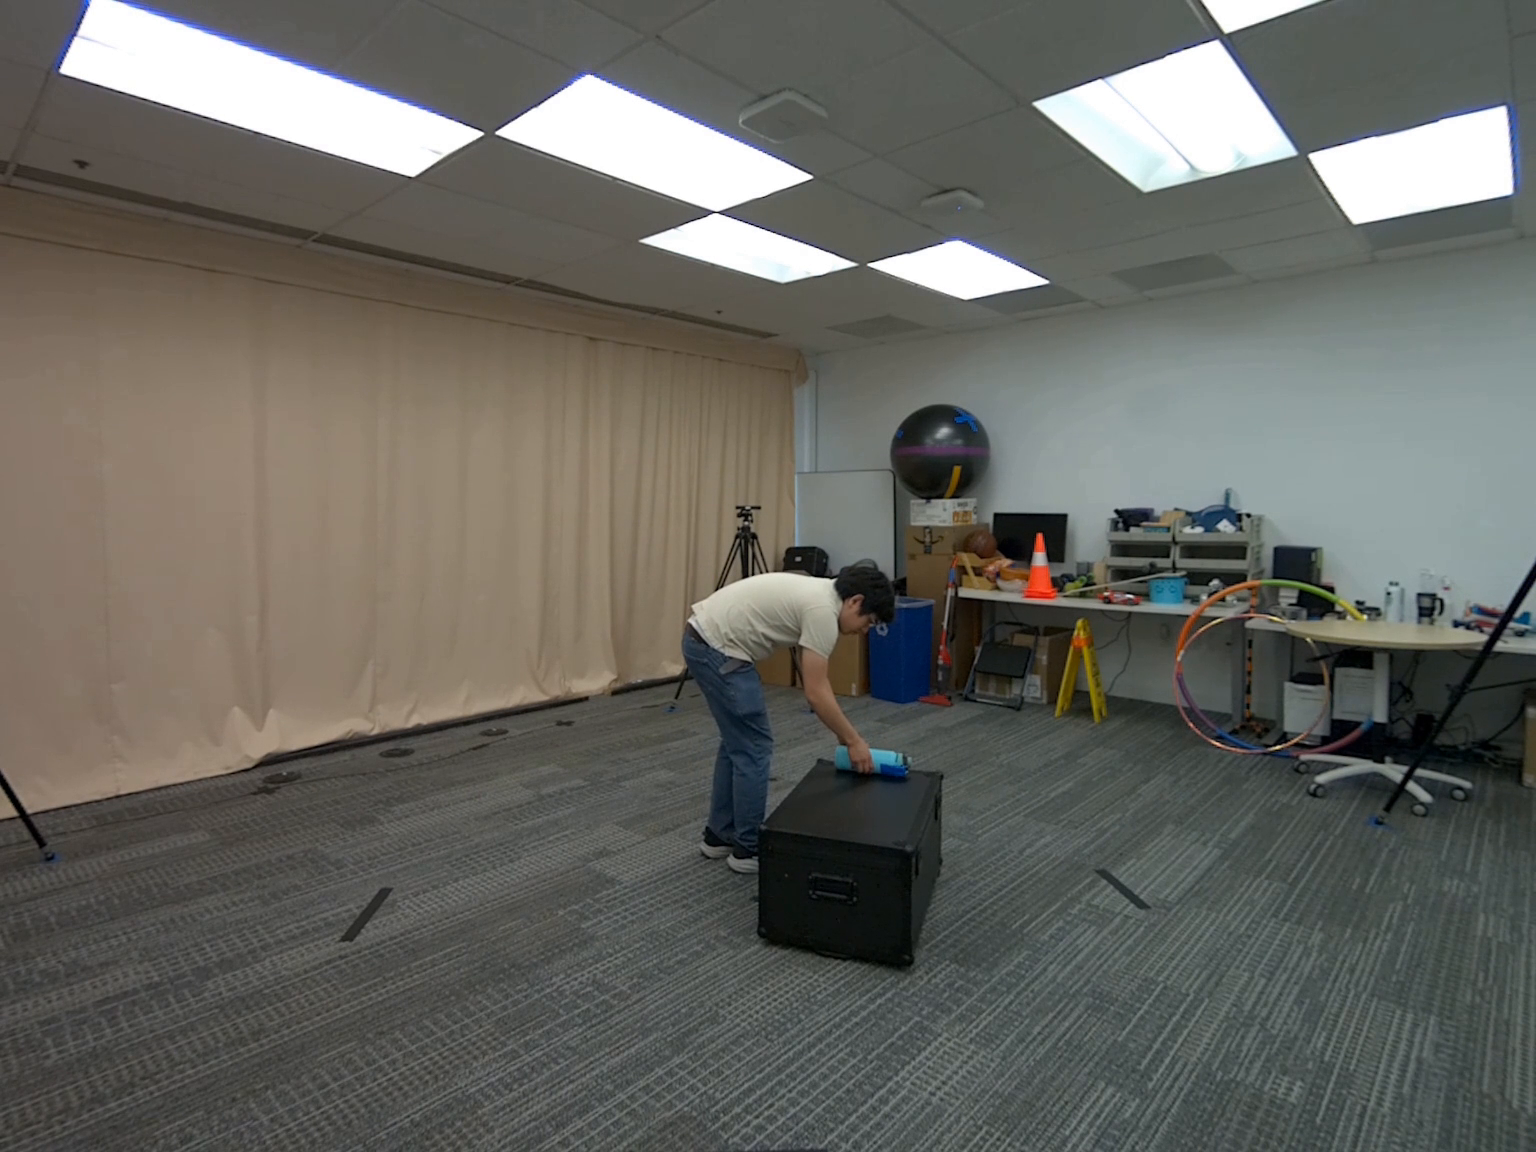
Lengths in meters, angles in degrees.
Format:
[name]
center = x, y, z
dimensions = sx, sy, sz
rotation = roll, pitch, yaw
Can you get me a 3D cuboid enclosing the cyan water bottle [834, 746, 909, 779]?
[cyan water bottle]
center = 0.411, 0.708, 3.192
dimensions = 0.288, 0.092, 0.091
rotation = 0, 4, 17
